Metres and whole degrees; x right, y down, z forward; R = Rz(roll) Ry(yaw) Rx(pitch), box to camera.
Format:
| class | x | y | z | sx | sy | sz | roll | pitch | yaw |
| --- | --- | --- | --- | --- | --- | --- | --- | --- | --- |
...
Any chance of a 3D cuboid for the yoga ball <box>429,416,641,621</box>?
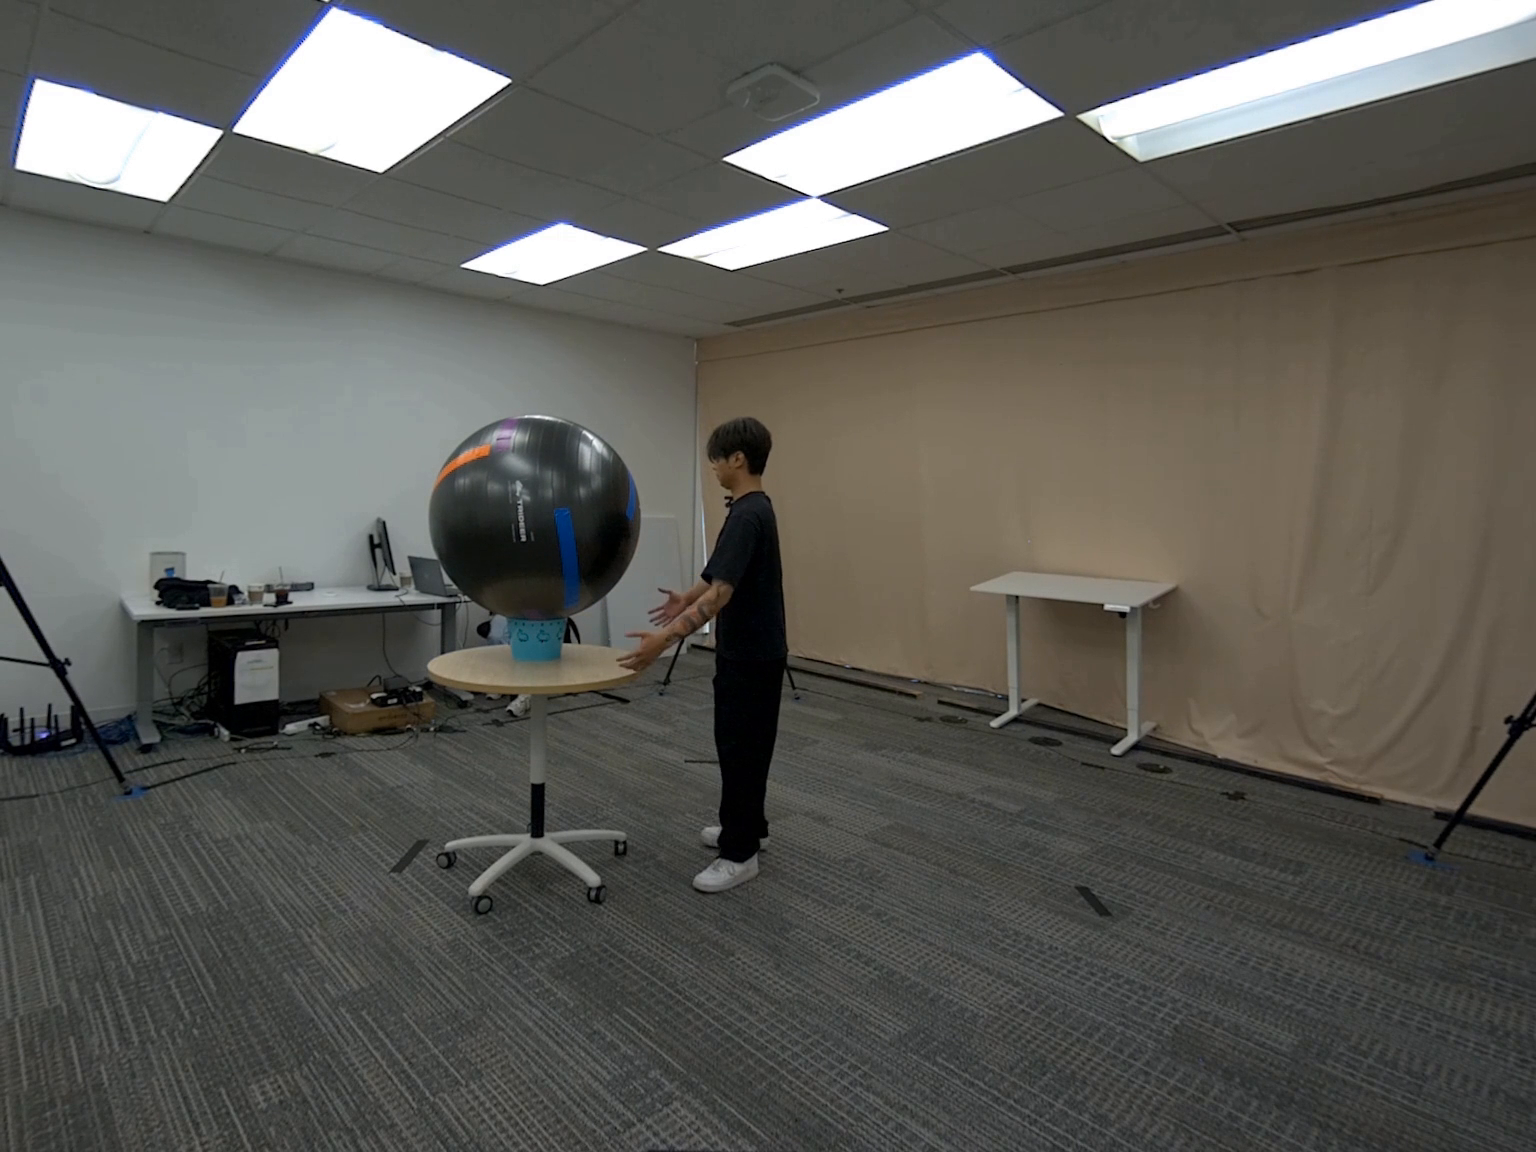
| class | x | y | z | sx | sy | sz | roll | pitch | yaw |
| --- | --- | --- | --- | --- | --- | --- | --- | --- | --- |
| yoga ball | -0.861 | -0.207 | 3.114 | 0.757 | 0.756 | 0.761 | 1 | 4 | -1 |
